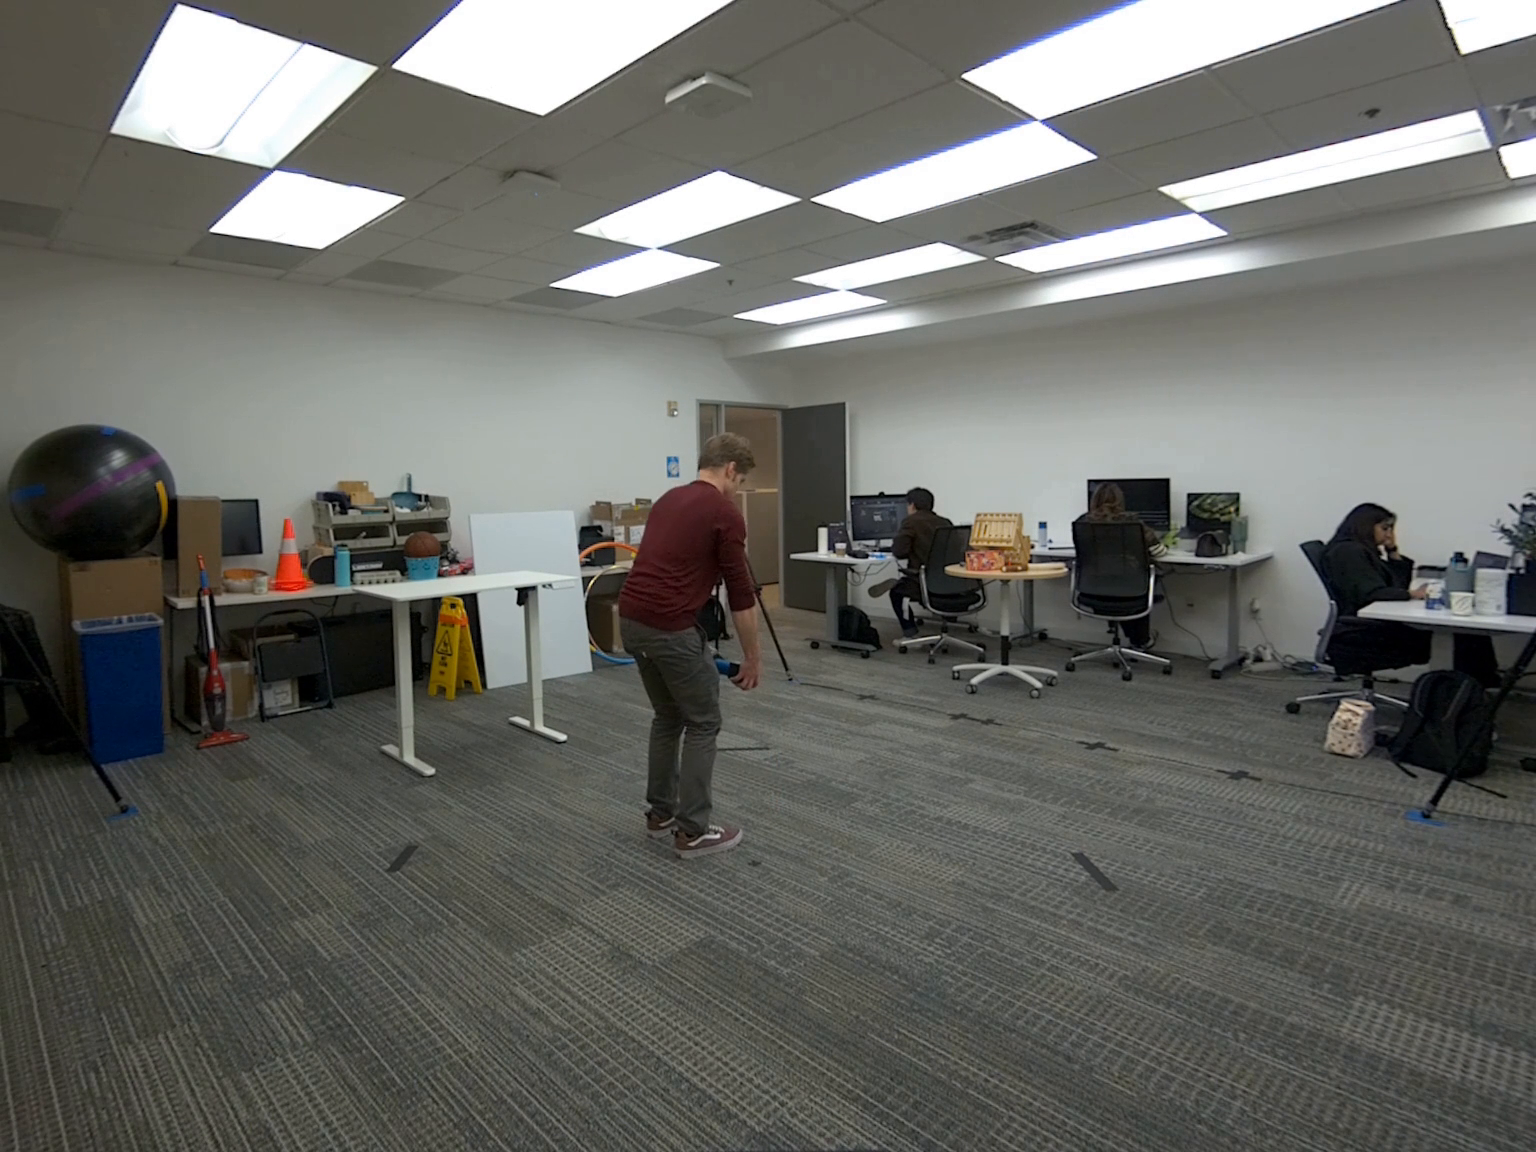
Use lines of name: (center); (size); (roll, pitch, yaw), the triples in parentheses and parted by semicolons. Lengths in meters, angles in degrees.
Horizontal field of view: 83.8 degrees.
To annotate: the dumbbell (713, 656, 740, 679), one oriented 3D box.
dumbbell: (-0.172, 0.379, 3.426); (0.105, 0.123, 0.303); (17, -7, -42)
